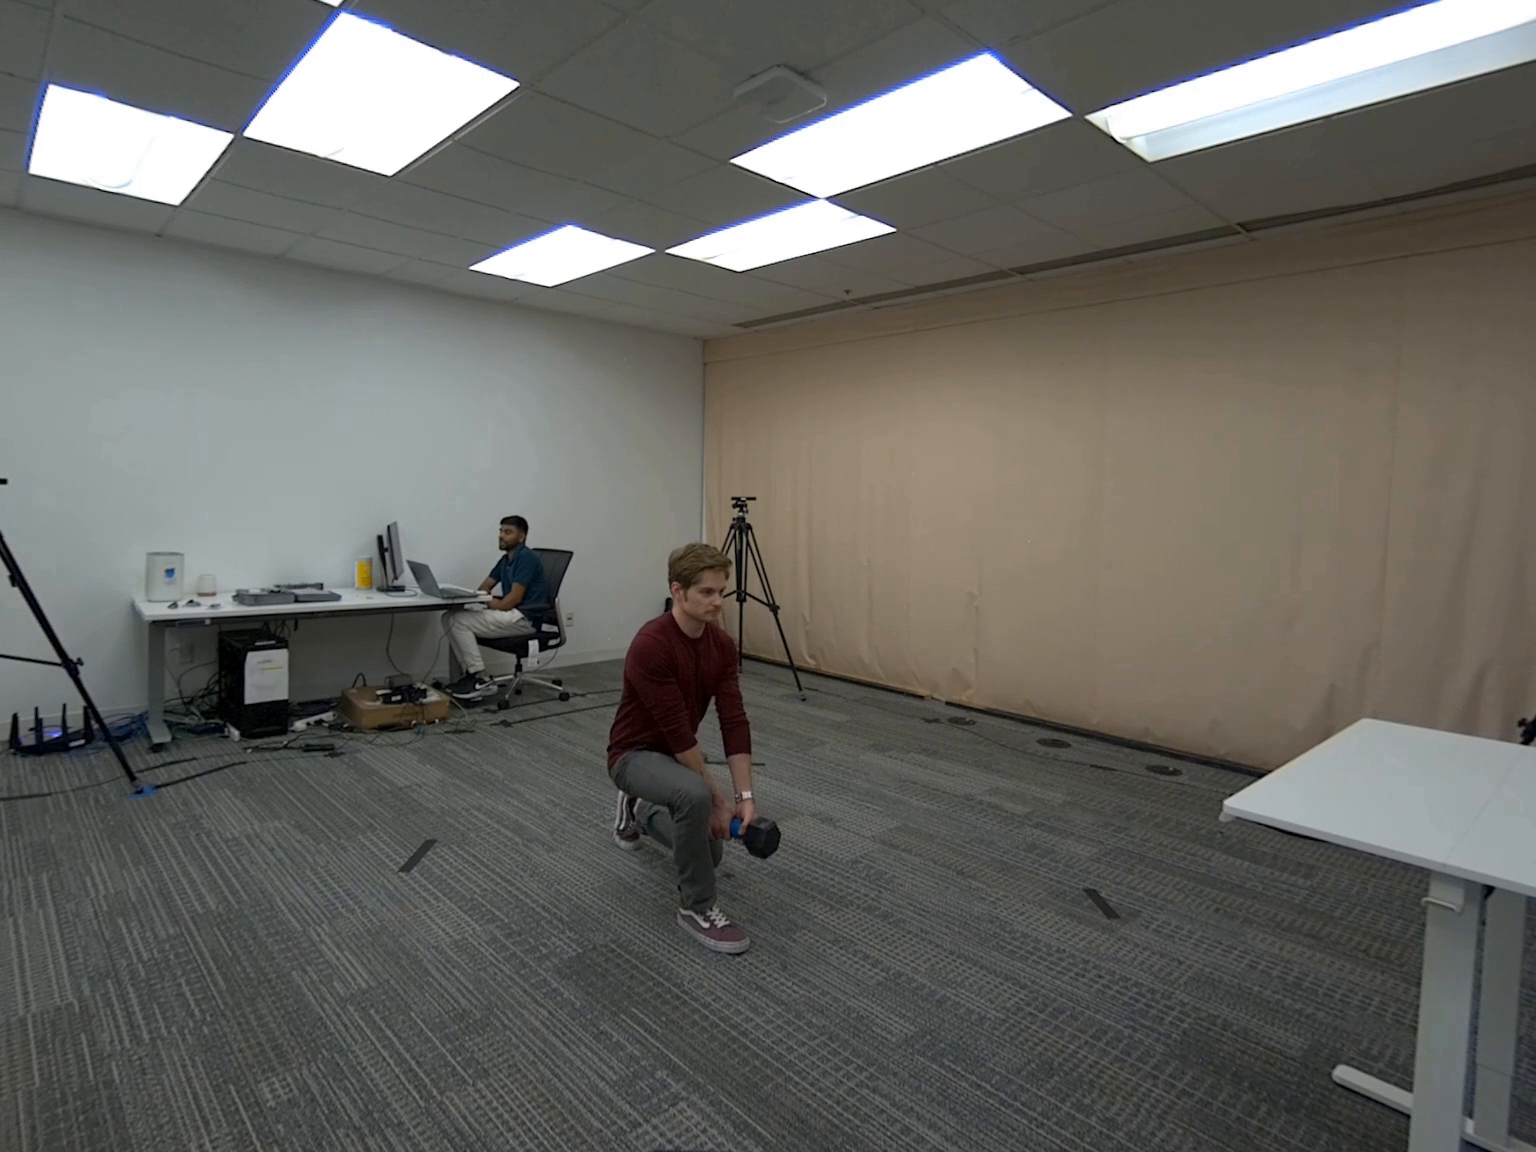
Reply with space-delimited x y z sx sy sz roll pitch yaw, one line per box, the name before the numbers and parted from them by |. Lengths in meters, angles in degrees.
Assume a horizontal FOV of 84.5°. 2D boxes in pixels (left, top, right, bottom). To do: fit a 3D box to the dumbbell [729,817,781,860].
dumbbell | -0.118 0.837 2.777 0.301 0.120 0.109 3 42 39
